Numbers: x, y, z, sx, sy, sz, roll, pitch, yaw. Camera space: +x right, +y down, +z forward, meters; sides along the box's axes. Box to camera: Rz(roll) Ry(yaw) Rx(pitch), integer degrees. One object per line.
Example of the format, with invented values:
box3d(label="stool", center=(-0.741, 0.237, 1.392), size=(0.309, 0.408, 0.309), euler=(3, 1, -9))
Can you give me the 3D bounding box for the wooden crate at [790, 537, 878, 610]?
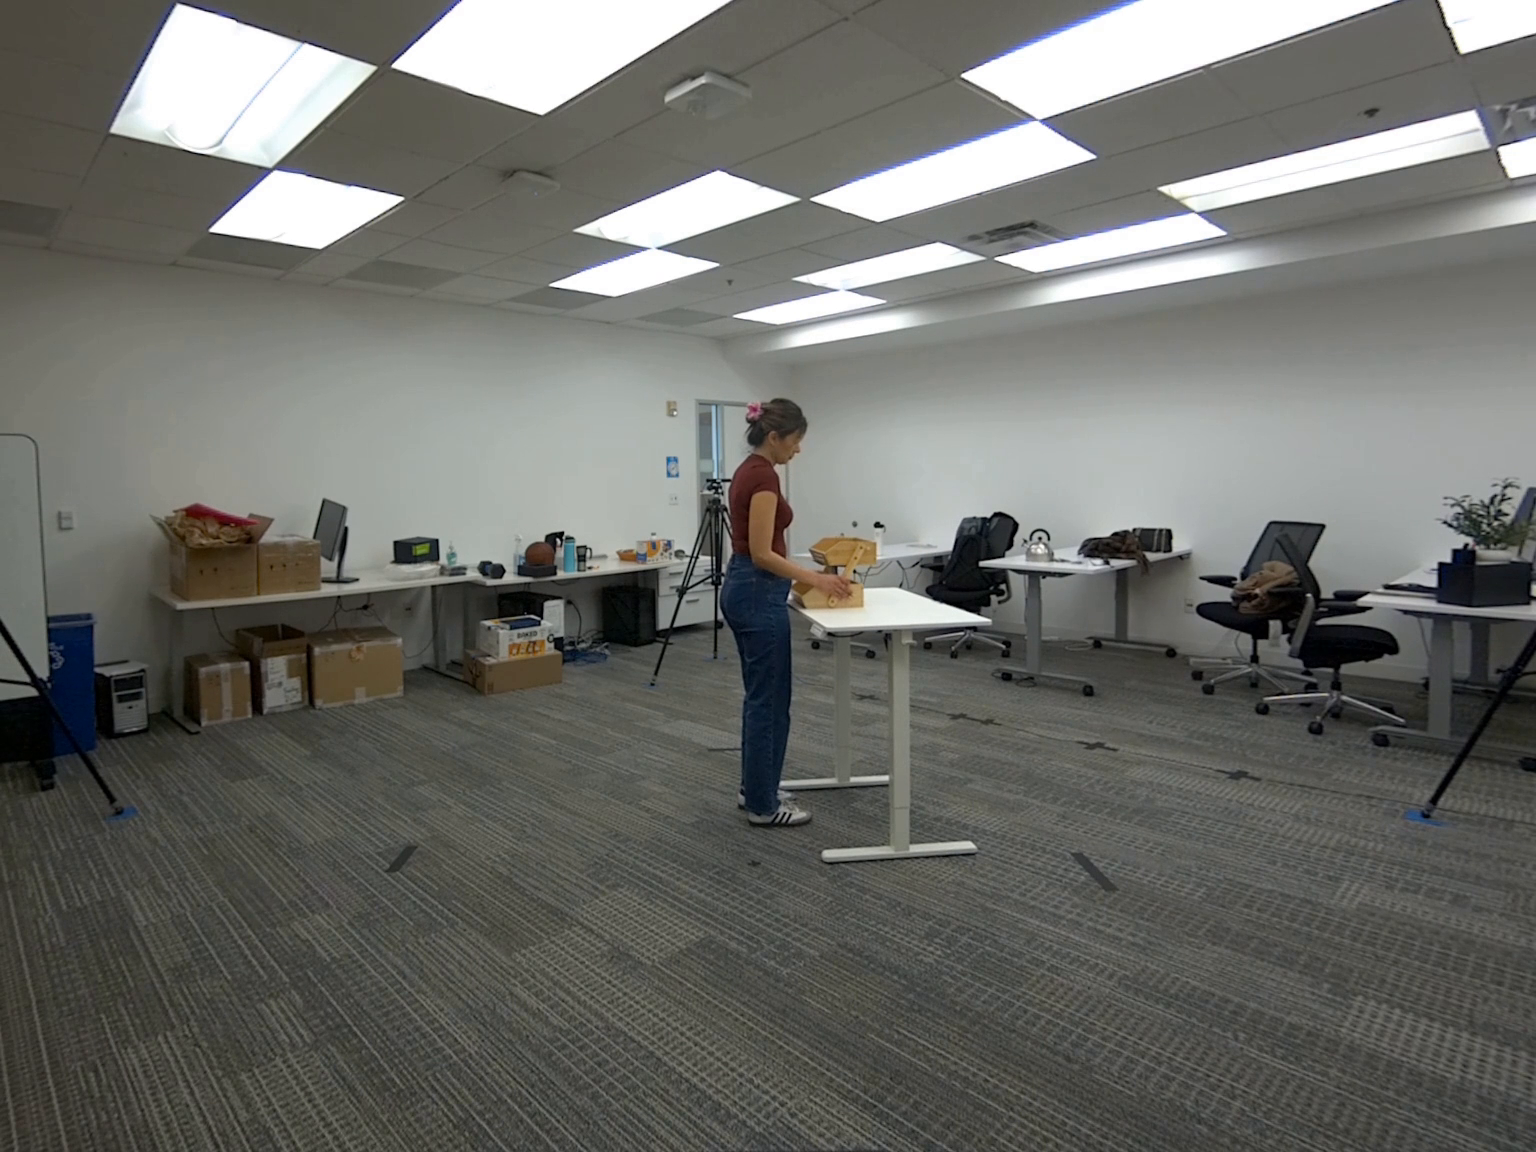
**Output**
box3d(label="wooden crate", center=(0.255, -0.022, 3.512), size=(0.300, 0.272, 0.328), euler=(-1, 5, -7))
